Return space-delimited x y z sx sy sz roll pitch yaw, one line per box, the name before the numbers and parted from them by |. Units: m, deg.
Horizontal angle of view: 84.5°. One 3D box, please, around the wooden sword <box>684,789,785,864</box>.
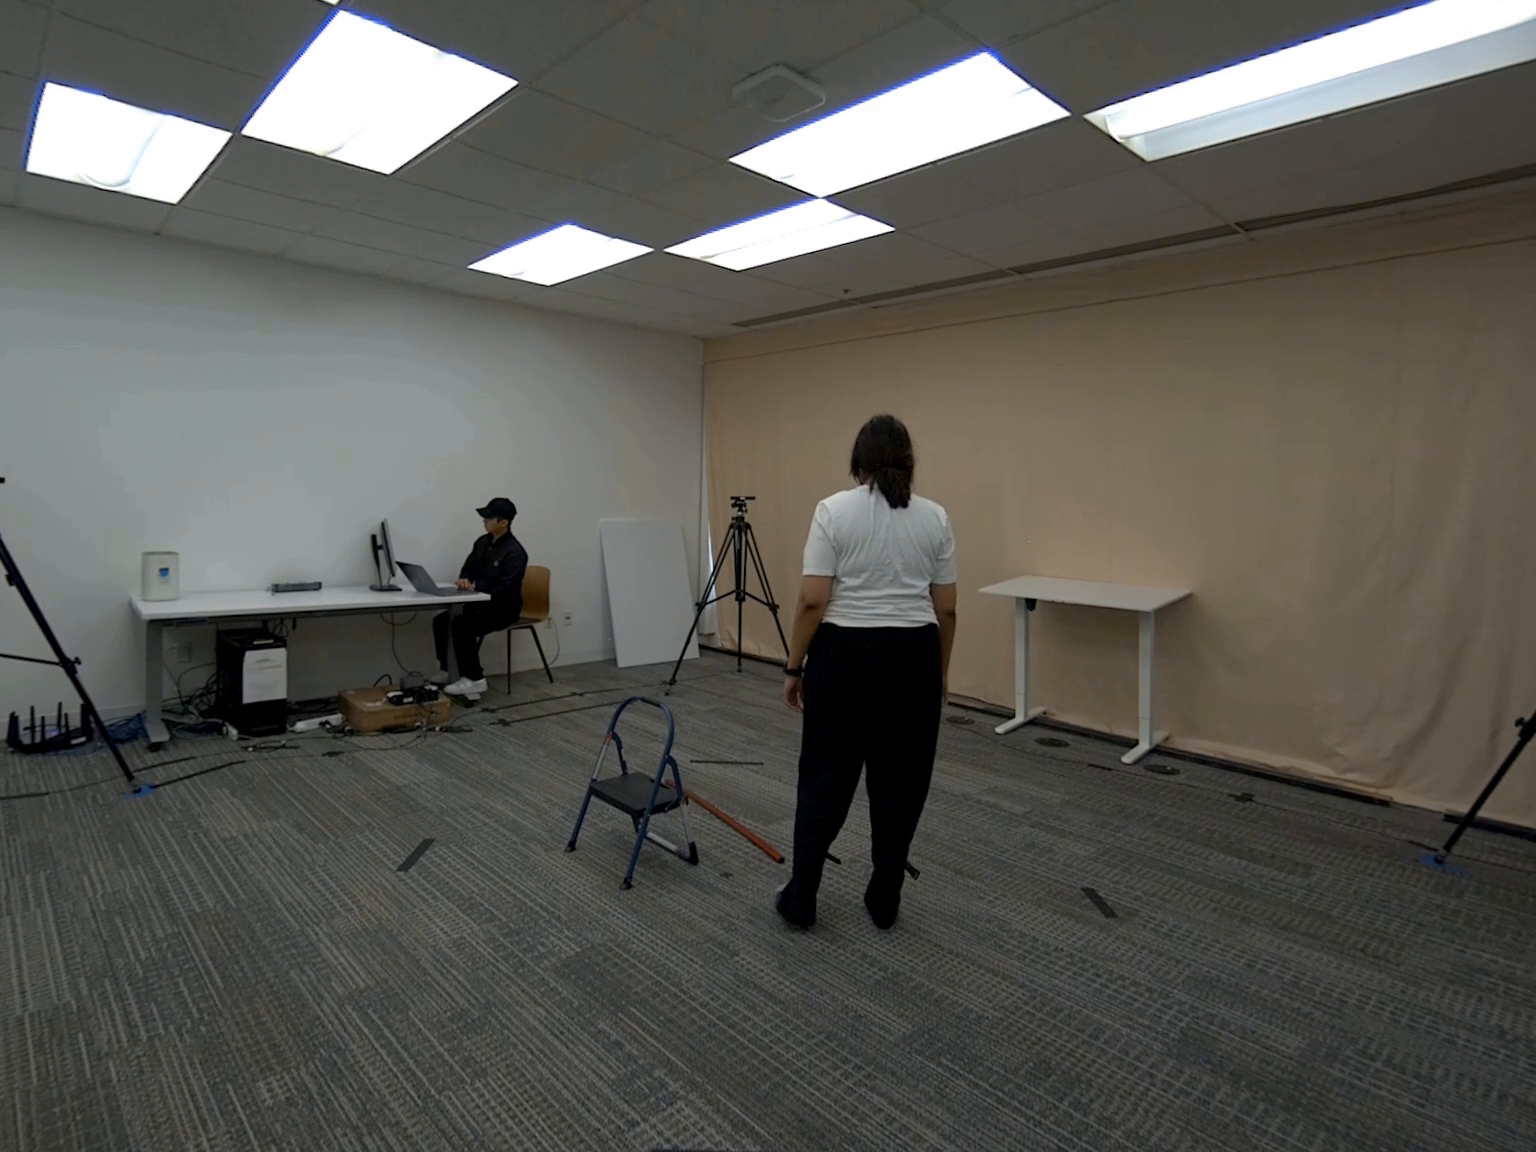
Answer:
wooden sword | -0.217 1.026 3.643 0.024 0.050 1.049 -27 18 -27
